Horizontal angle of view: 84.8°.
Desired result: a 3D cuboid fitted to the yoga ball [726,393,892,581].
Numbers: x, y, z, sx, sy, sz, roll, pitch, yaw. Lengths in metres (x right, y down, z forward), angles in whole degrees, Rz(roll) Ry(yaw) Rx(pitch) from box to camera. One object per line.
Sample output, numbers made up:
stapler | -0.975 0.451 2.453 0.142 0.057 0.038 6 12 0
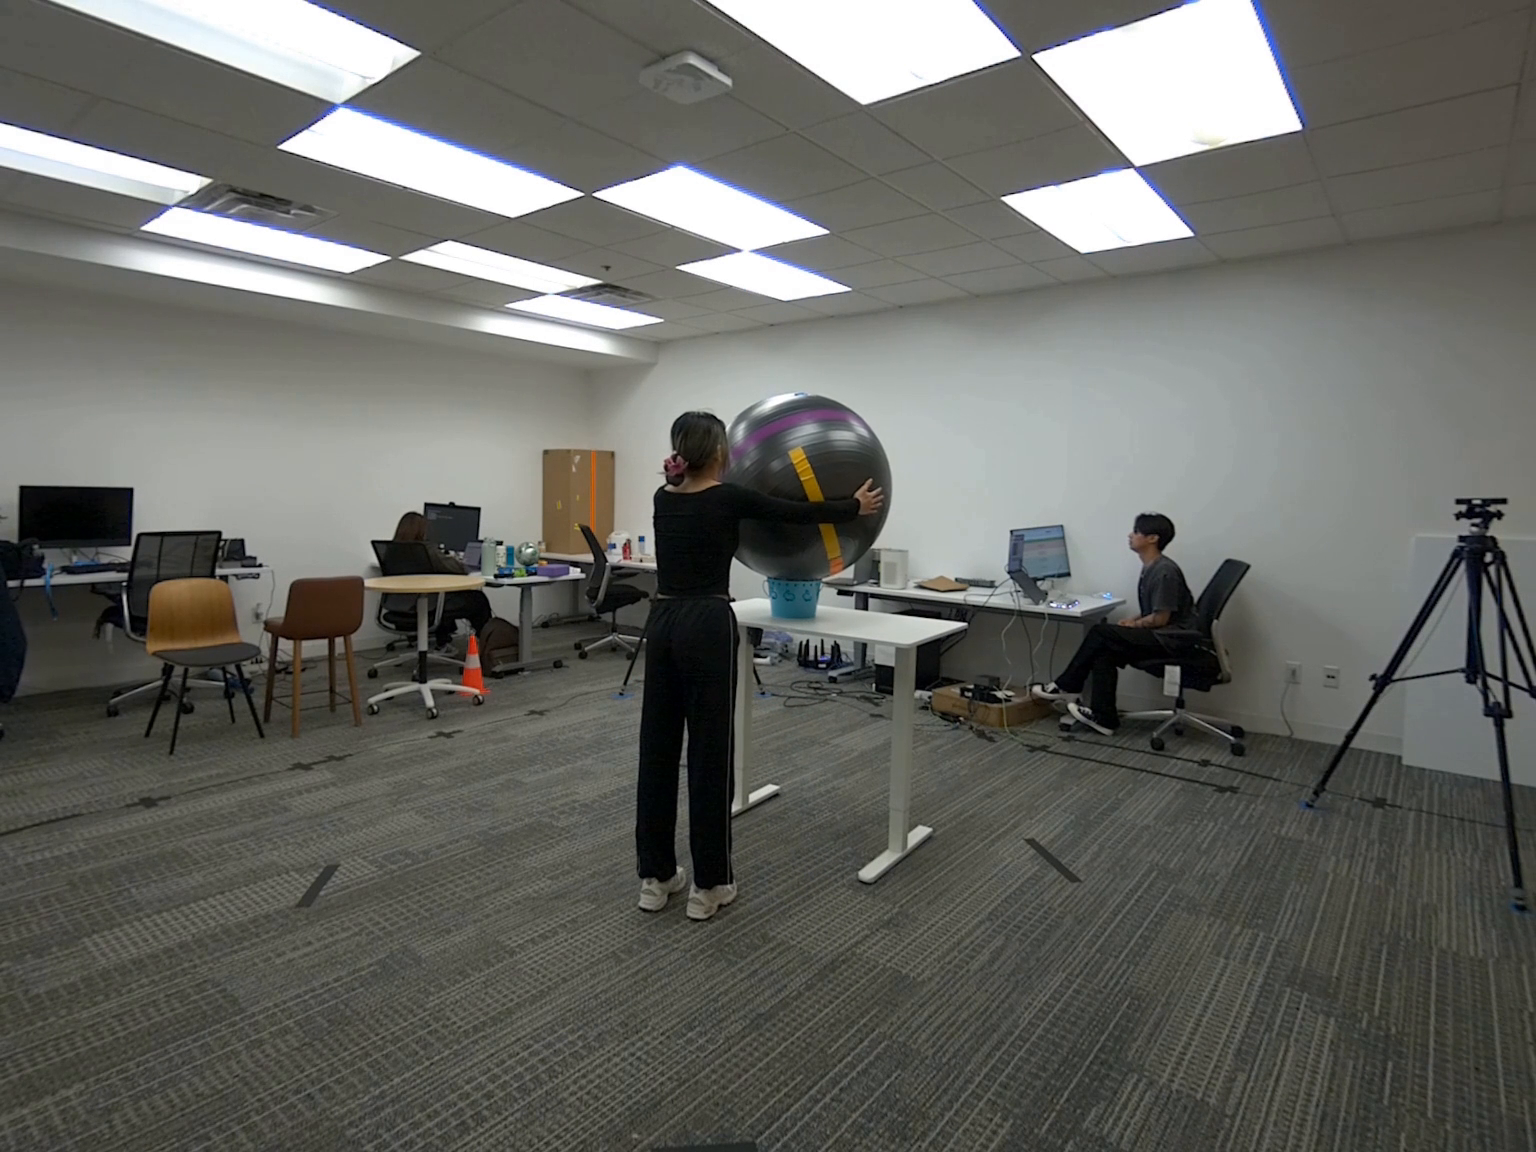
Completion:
yoga ball | 0.118 -0.354 3.442 0.757 0.756 0.761 1 4 -2
